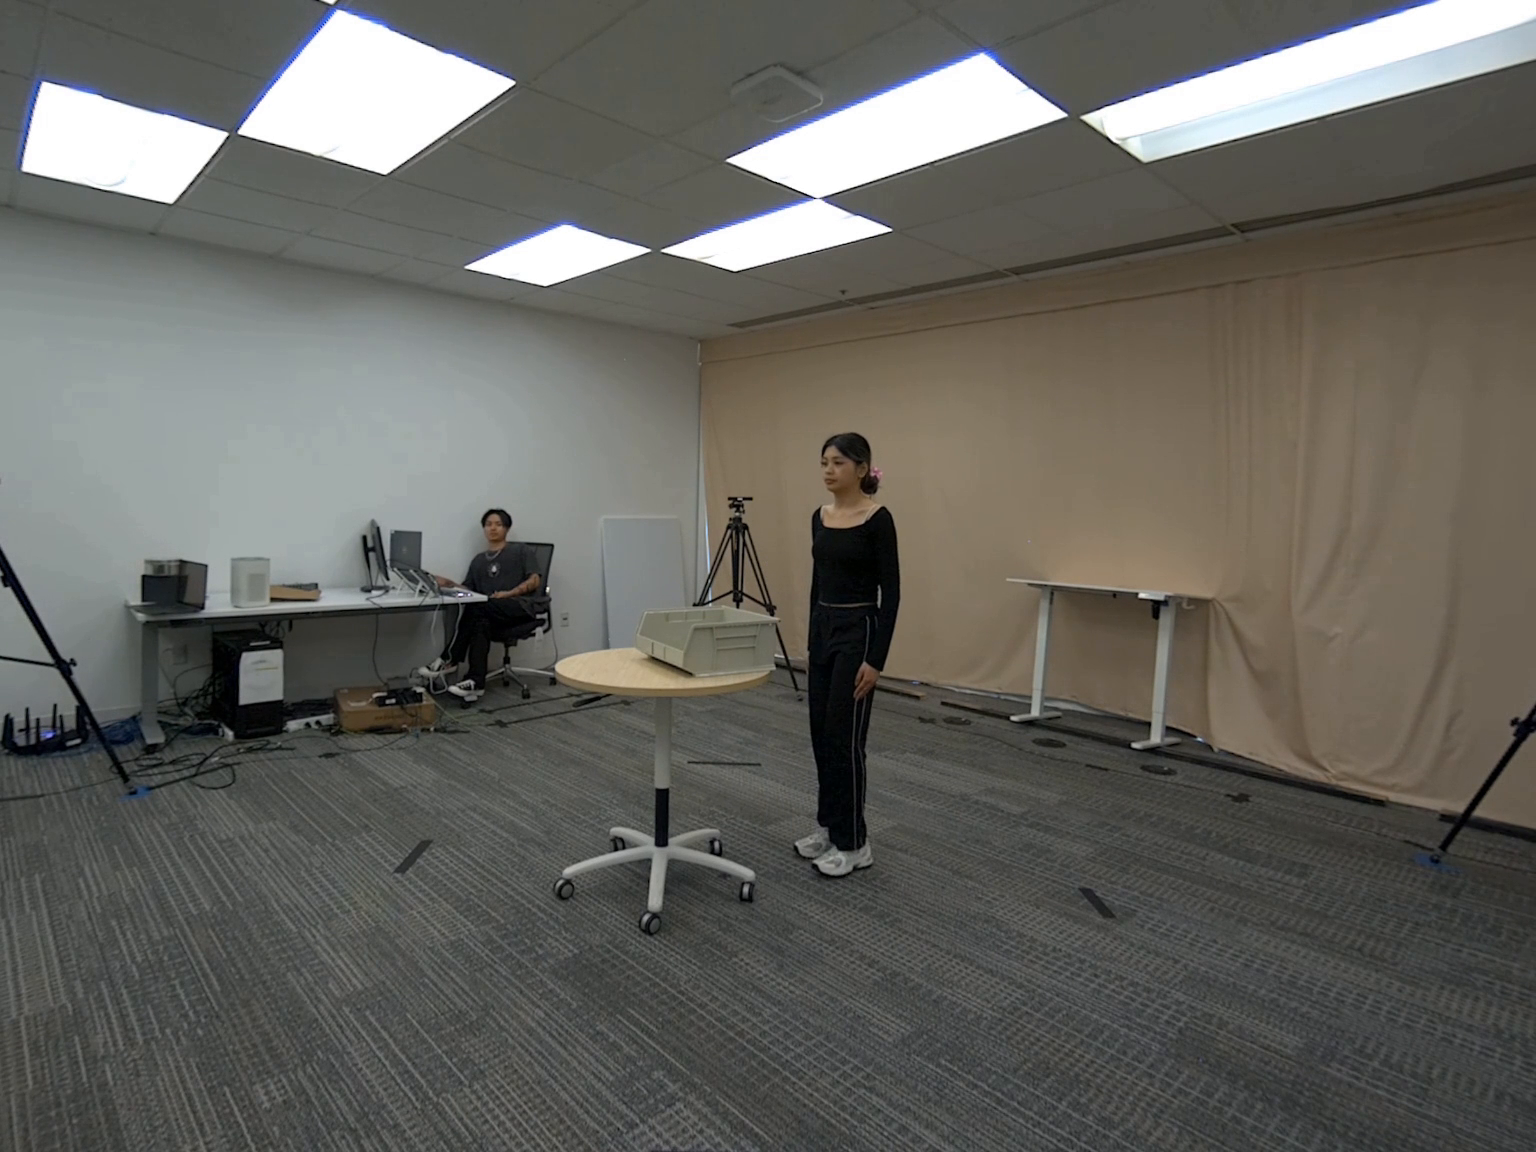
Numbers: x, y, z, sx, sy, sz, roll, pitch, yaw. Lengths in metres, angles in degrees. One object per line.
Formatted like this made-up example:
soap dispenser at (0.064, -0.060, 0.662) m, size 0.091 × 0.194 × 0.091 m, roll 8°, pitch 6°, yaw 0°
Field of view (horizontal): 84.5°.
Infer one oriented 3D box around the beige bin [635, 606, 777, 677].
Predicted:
beige bin at (-0.232, 0.229, 3.021) m, size 0.369 × 0.188 × 0.432 m, roll 0°, pitch 4°, yaw -30°
